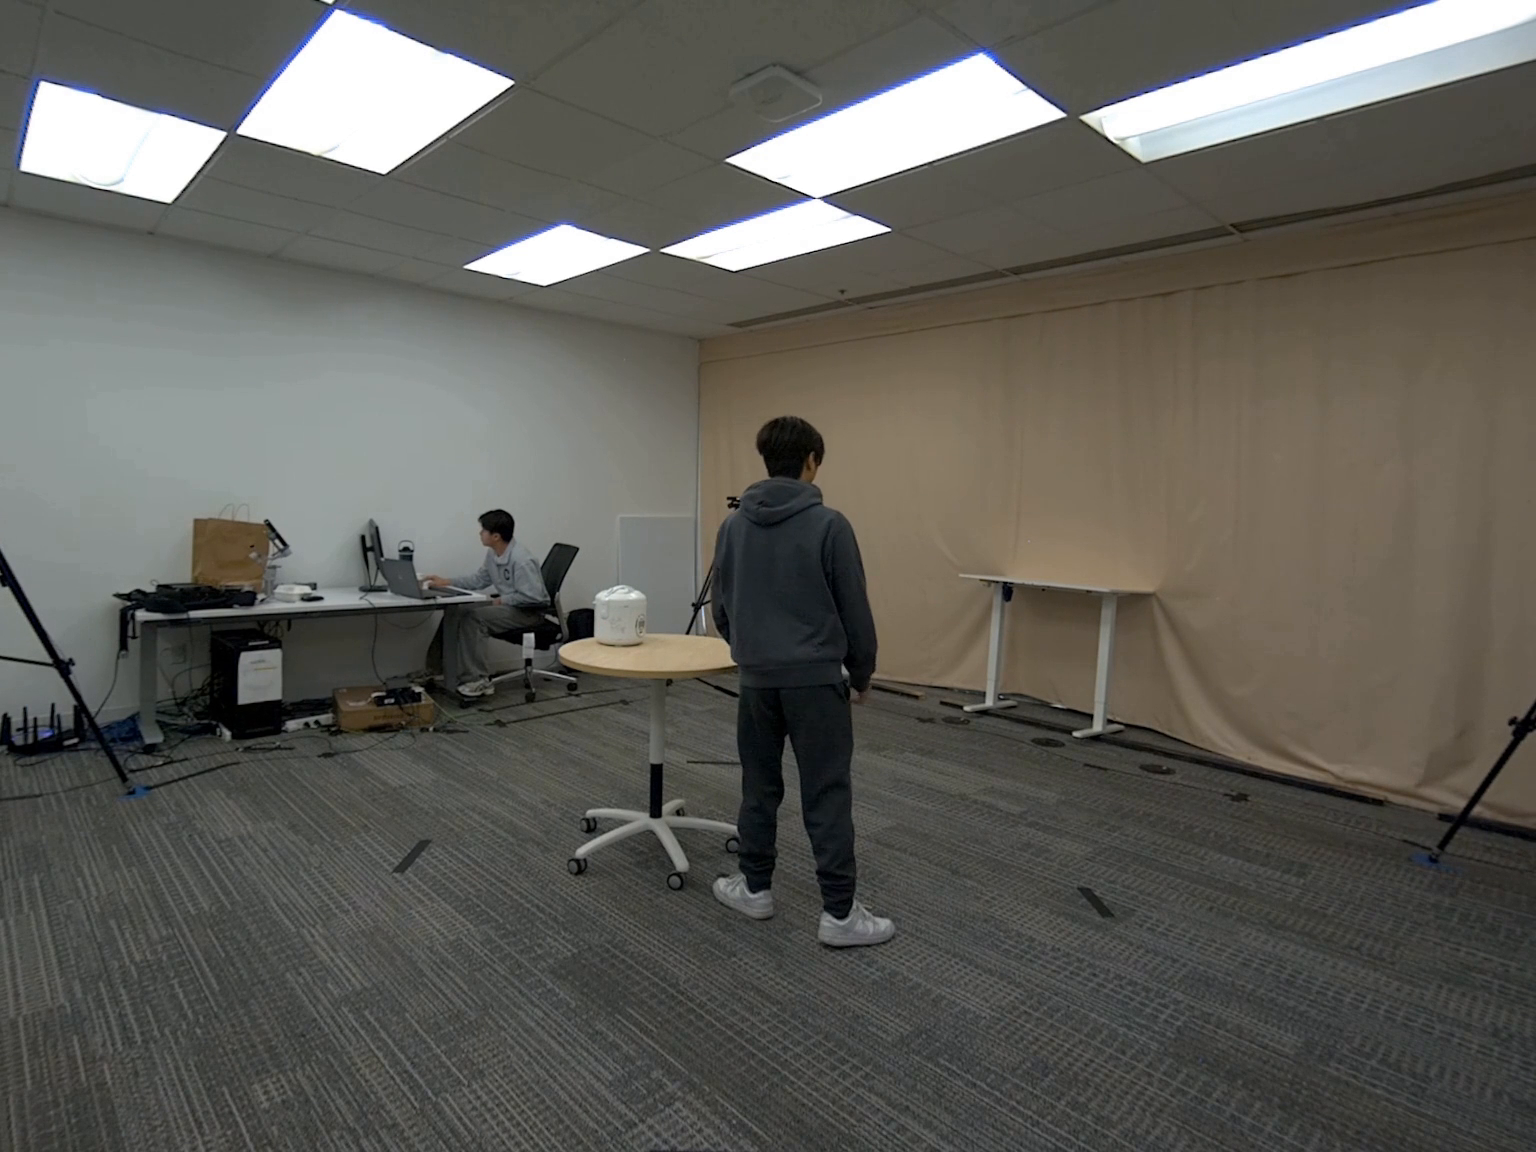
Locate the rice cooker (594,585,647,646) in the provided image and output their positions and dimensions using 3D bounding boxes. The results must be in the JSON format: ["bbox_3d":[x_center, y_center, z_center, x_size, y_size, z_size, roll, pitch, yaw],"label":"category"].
[{"bbox_3d":[-0.600,0.153,3.396,0.222,0.232,0.216,4,5,31],"label":"rice cooker"}]
